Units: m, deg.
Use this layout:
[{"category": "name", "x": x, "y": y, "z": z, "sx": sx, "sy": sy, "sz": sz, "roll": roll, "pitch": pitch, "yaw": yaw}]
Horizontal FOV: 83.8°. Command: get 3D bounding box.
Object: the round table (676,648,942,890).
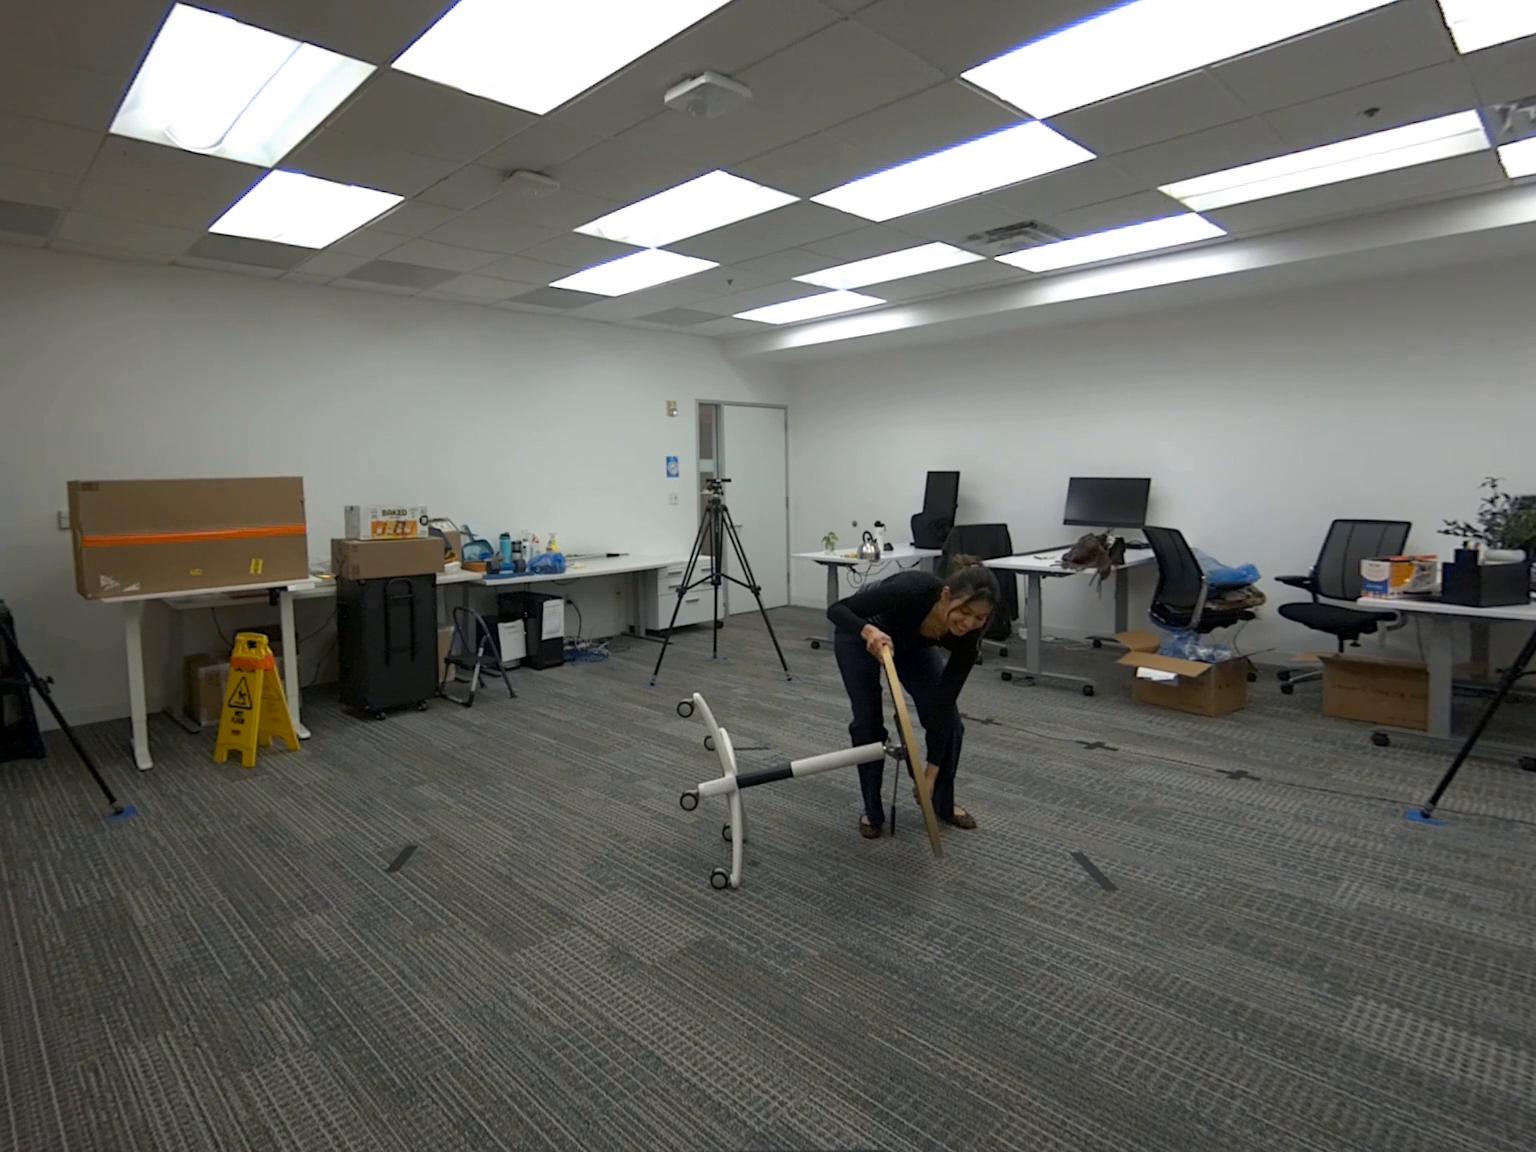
[{"category": "round table", "x": 0.135, "y": 0.688, "z": 3.068, "sx": 0.798, "sy": 0.762, "sz": 0.762, "roll": -15, "pitch": 3, "yaw": 7}]
